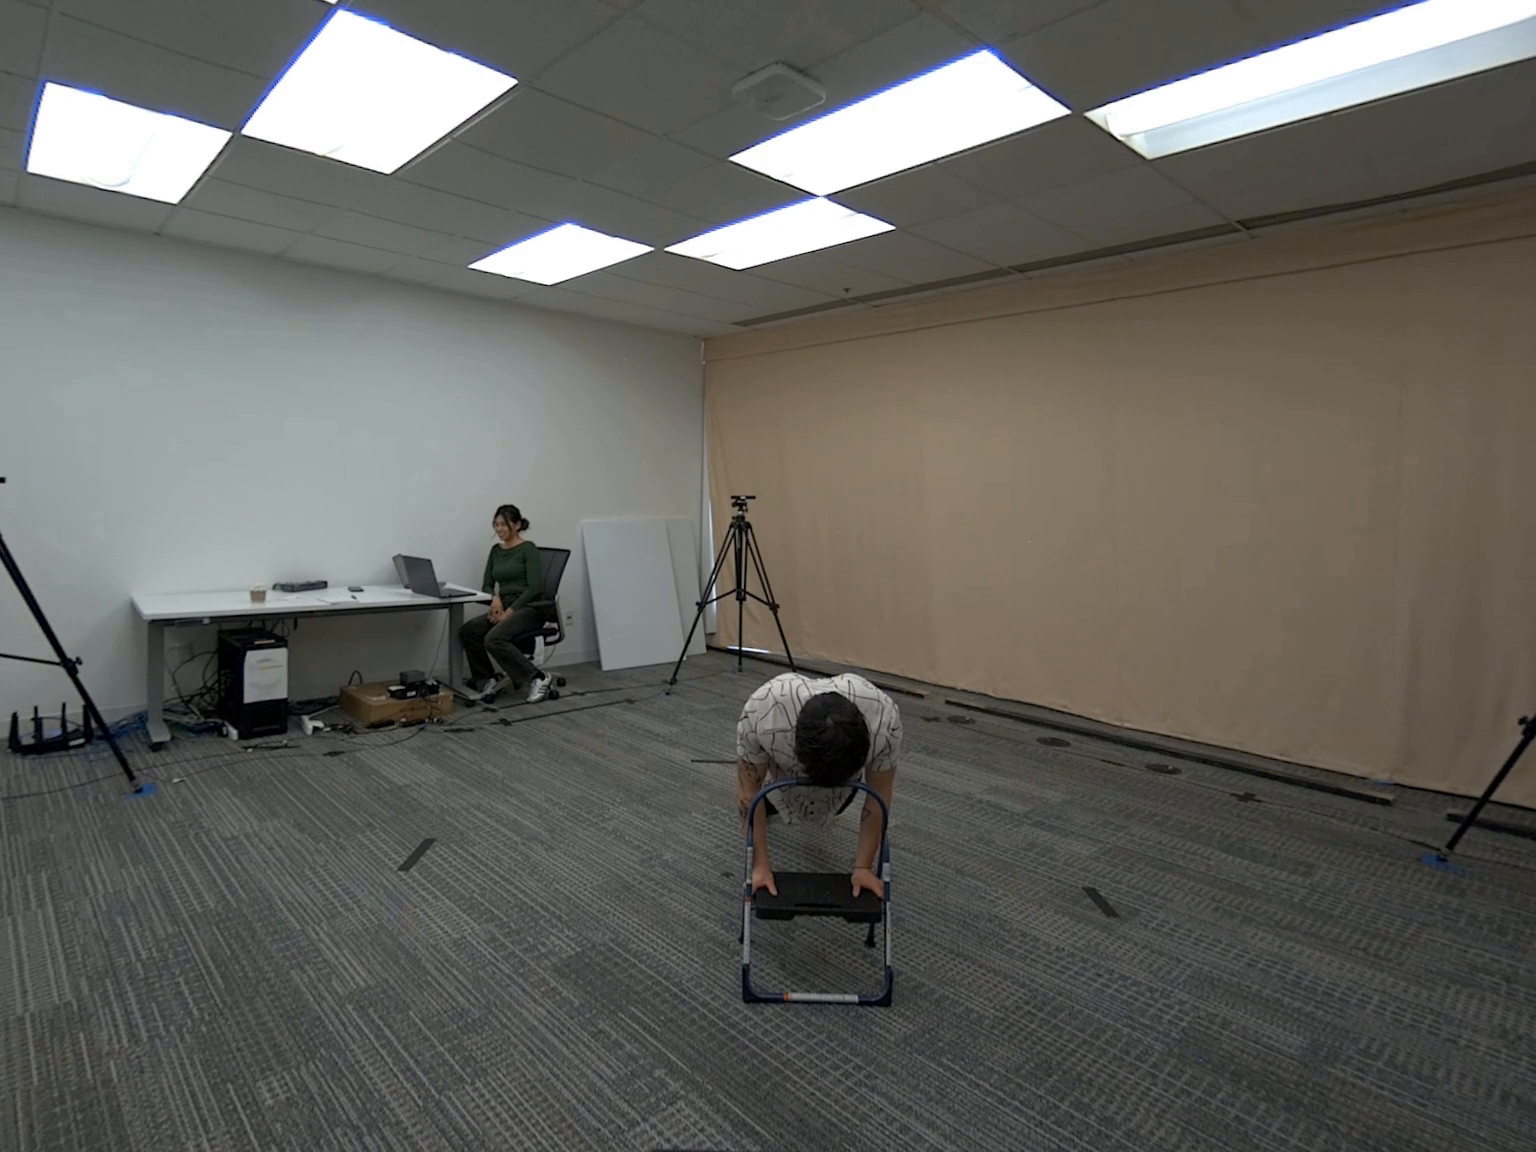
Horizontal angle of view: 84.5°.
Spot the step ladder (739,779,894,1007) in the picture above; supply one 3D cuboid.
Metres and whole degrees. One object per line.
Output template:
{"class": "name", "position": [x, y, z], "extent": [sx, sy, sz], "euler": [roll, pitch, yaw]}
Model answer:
{"class": "step ladder", "position": [0.129, 0.872, 2.465], "extent": [0.430, 0.605, 0.350], "euler": [1, 3, -2]}
